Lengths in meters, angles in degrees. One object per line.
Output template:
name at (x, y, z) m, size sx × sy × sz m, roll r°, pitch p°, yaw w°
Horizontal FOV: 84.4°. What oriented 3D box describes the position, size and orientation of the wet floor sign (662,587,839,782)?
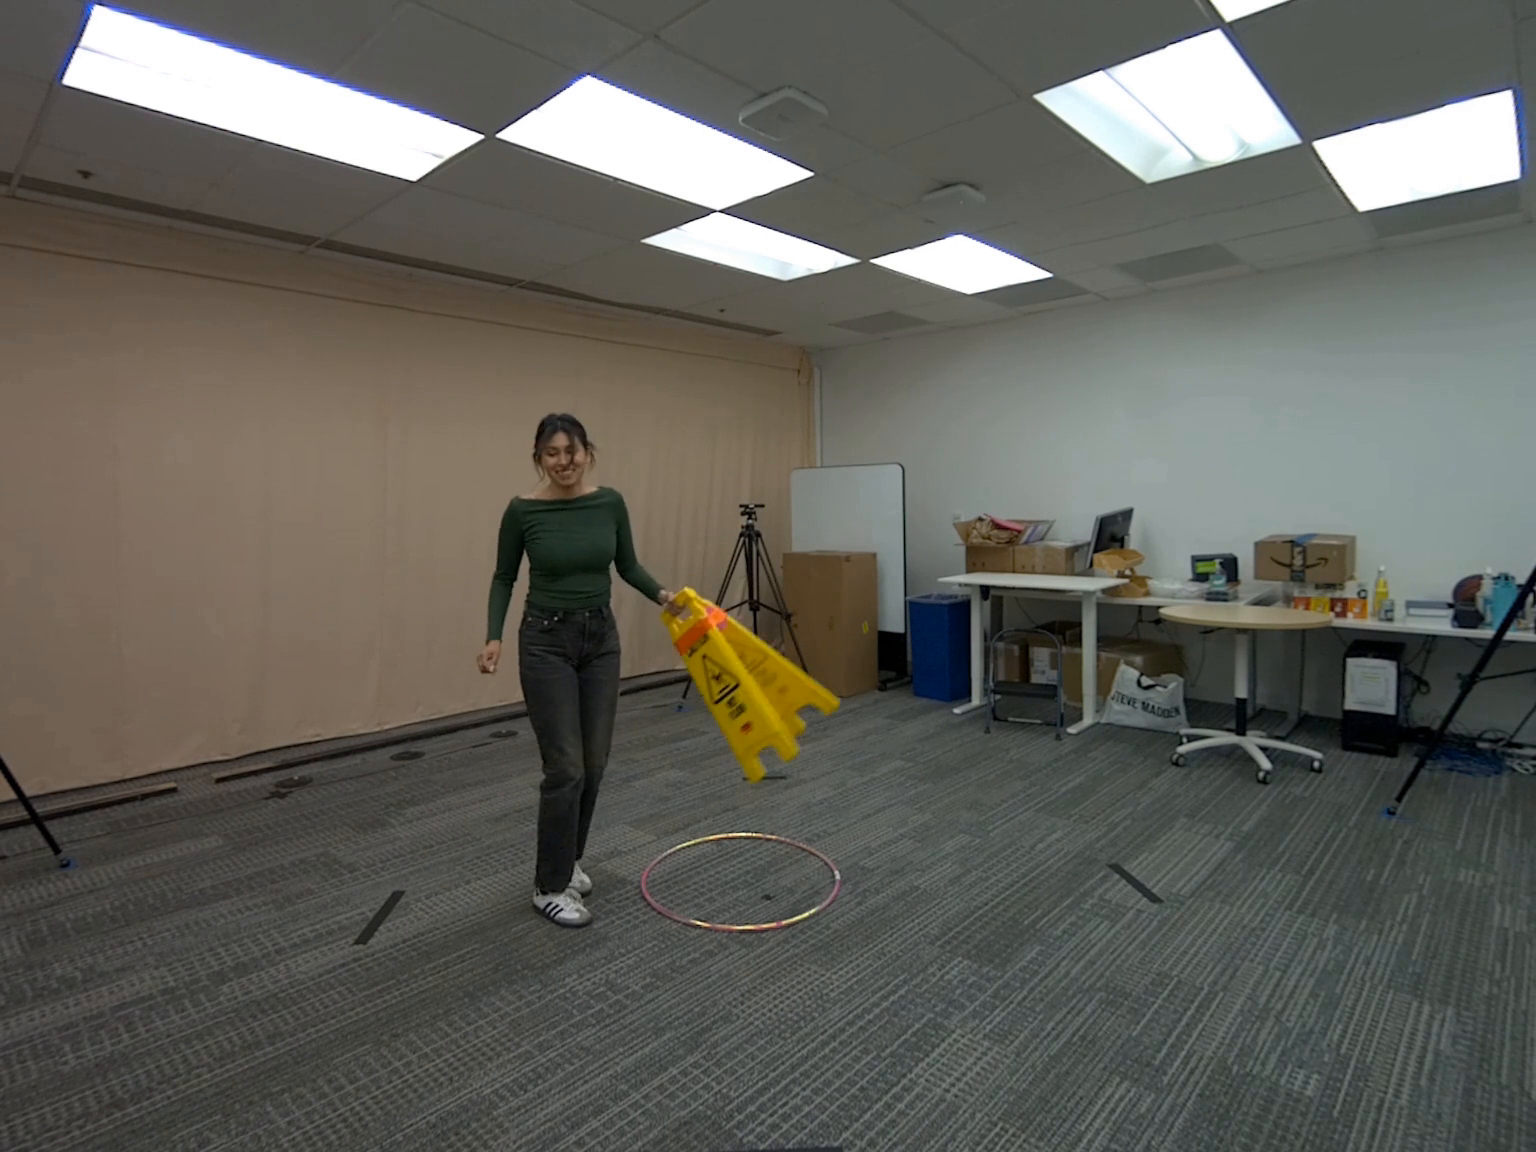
wet floor sign at (-0.159, 0.309, 2.873) m, size 0.285 × 0.651 × 0.284 m, roll -36°, pitch -9°, yaw -47°
